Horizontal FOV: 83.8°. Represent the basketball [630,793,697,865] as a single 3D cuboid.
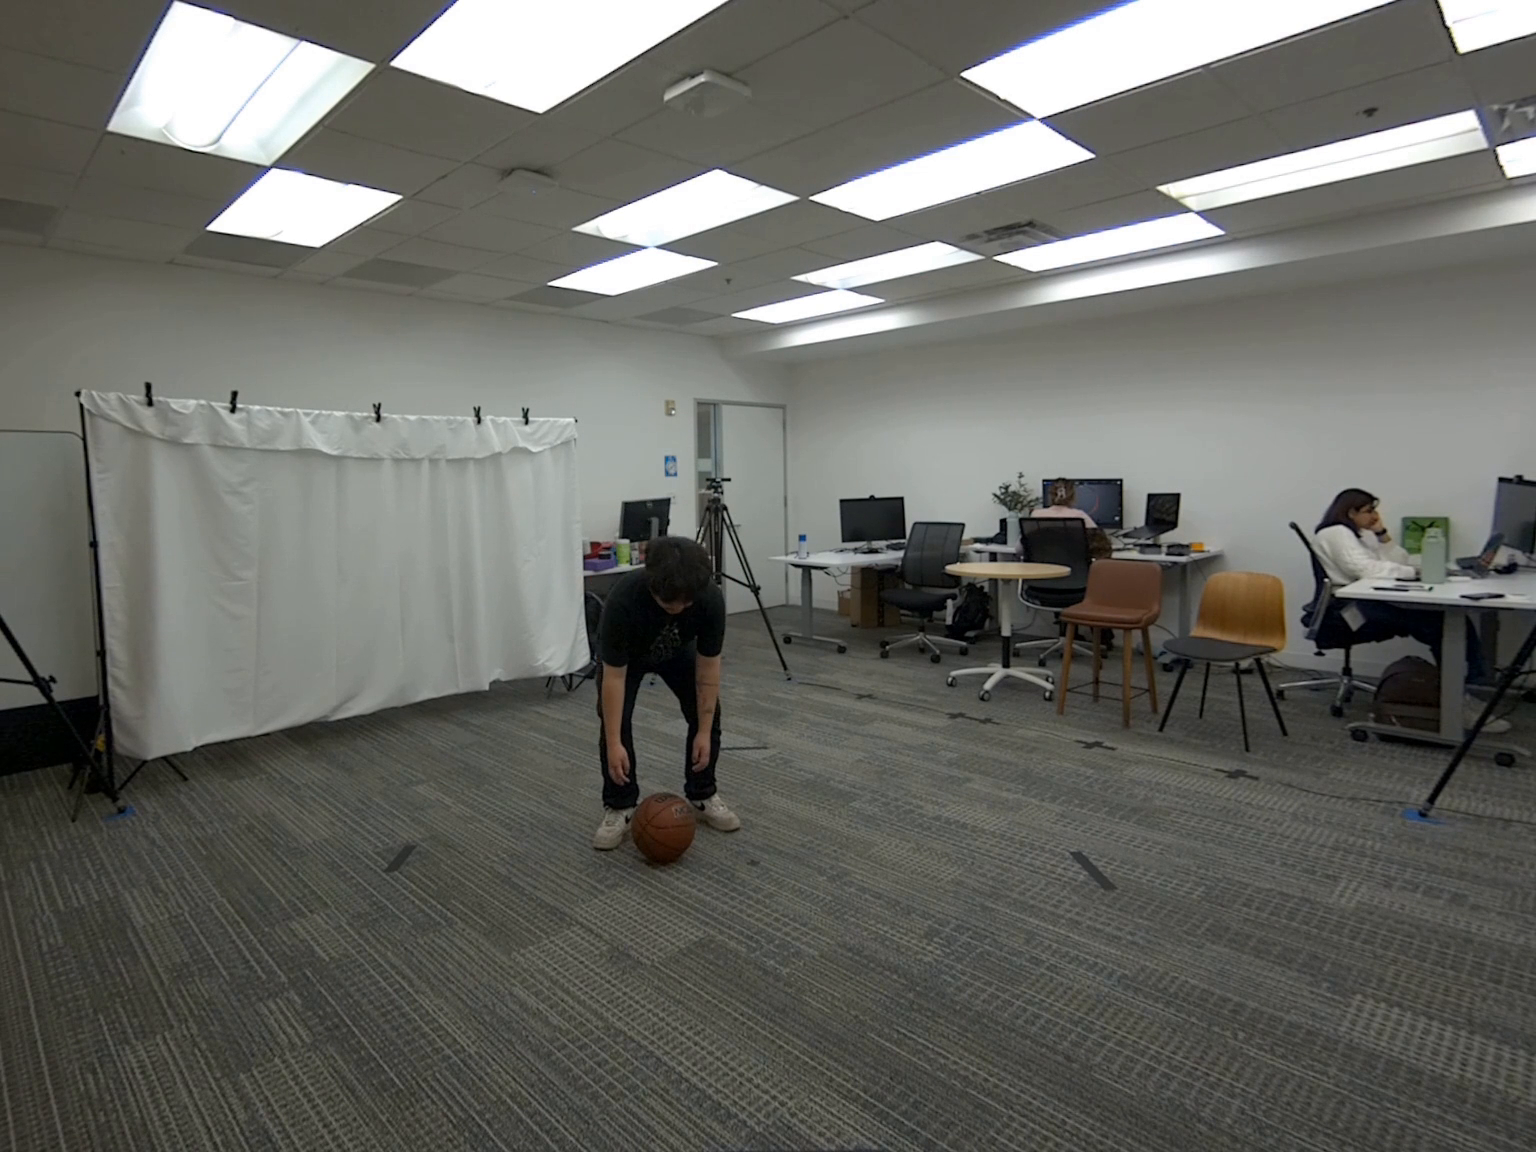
[{"bbox_3d":[-0.383,0.919,3.153,0.236,0.235,0.237,-1,5,-2],"label":"basketball"}]
